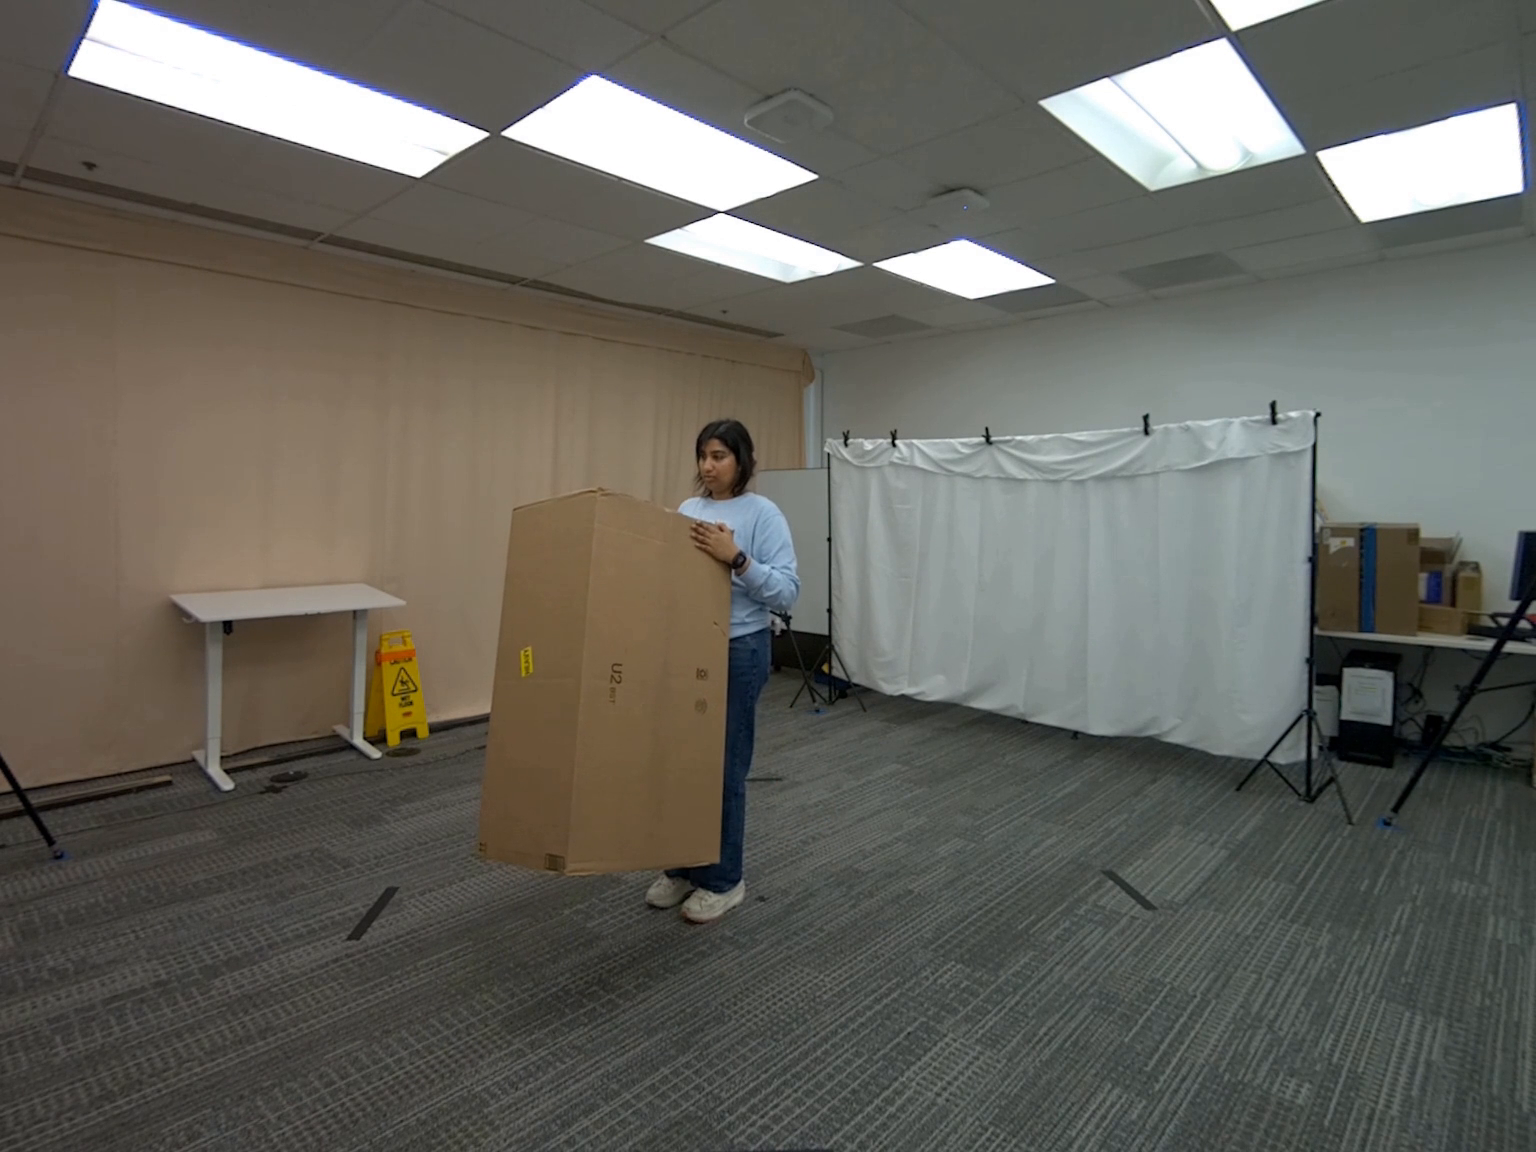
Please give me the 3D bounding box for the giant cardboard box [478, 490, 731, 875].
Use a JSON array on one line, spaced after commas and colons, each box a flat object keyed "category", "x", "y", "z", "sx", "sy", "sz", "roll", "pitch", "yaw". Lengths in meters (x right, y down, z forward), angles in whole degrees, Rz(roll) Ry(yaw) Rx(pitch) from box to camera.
[{"category": "giant cardboard box", "x": -0.472, "y": 0.323, "z": 2.546, "sx": 0.459, "sy": 1.035, "sz": 0.563, "roll": -11, "pitch": -18, "yaw": 43}]
